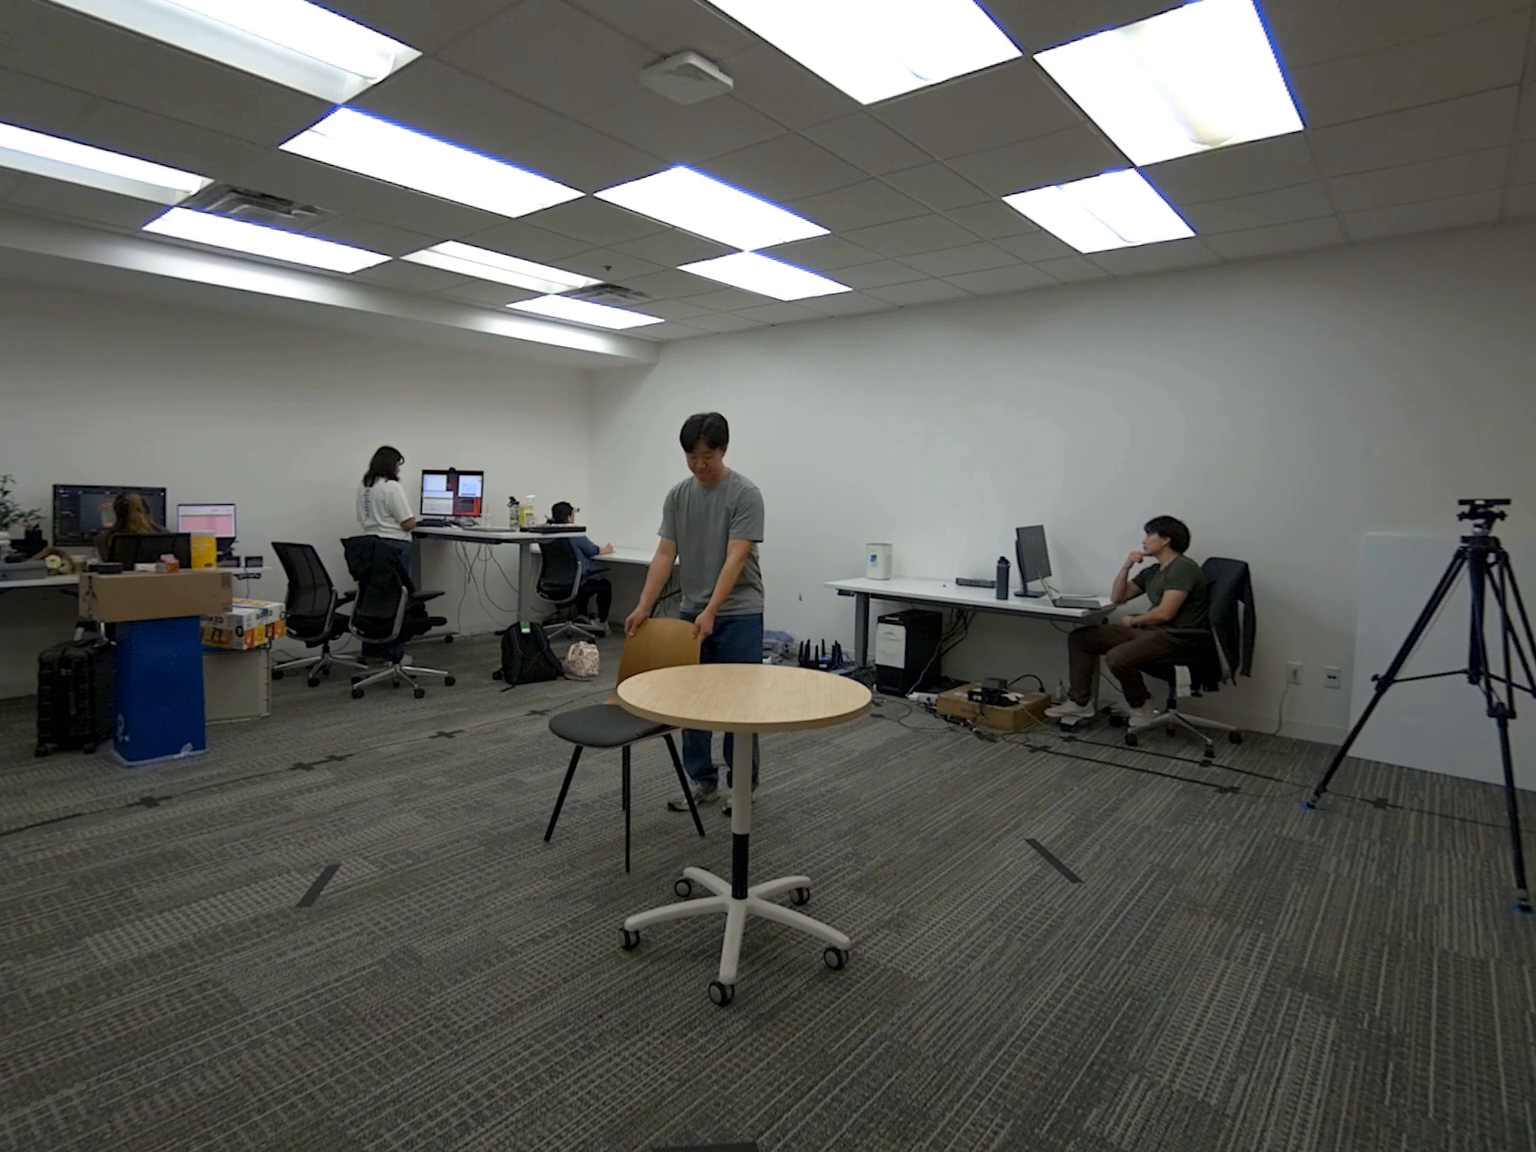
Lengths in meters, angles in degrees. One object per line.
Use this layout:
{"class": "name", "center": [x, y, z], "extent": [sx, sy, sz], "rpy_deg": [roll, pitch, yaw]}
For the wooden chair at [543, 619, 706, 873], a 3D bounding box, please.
{"class": "wooden chair", "center": [-0.566, 0.610, 3.333], "extent": [0.493, 0.878, 0.506], "rpy_deg": [3, -1, 36]}
